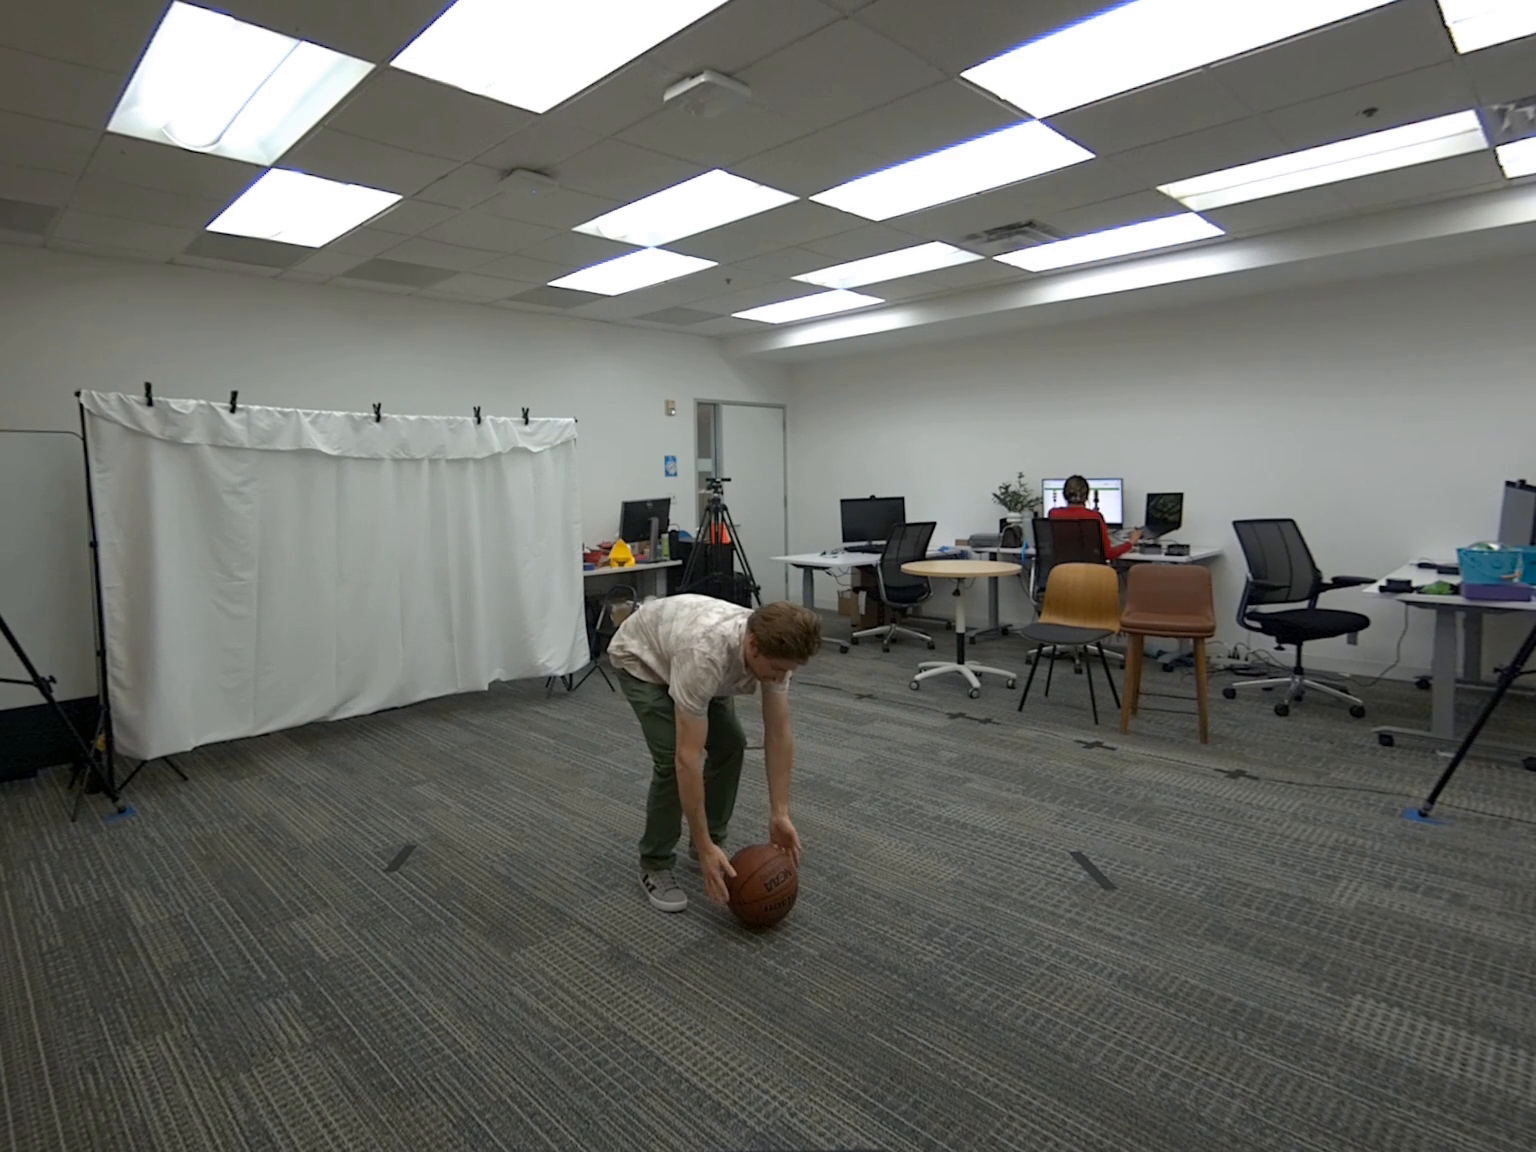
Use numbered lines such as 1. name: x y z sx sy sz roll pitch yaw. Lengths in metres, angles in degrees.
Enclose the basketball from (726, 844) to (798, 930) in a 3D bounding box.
1. basketball: -0.020 0.957 2.688 0.236 0.235 0.237 -1 5 -2
